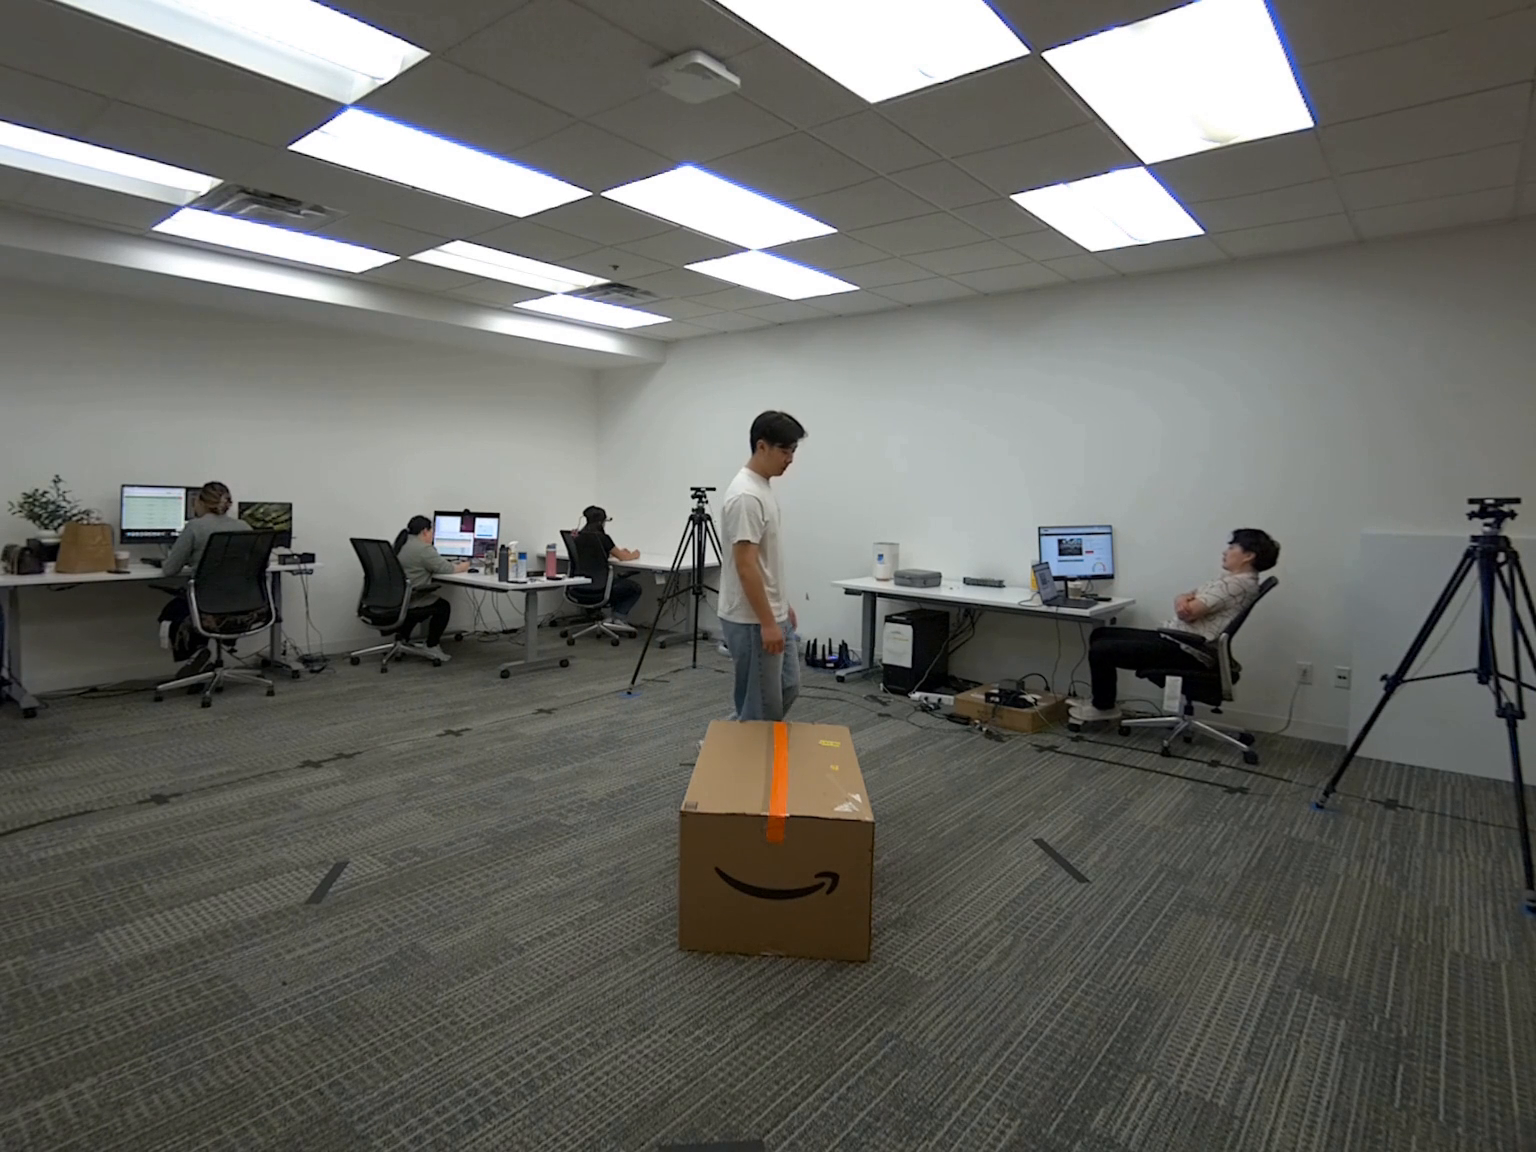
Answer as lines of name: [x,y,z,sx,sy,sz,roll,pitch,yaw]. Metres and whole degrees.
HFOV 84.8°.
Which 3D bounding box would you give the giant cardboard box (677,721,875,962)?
giant cardboard box: [0.023,0.860,3.018,0.579,0.425,1.026,1,5,2]
